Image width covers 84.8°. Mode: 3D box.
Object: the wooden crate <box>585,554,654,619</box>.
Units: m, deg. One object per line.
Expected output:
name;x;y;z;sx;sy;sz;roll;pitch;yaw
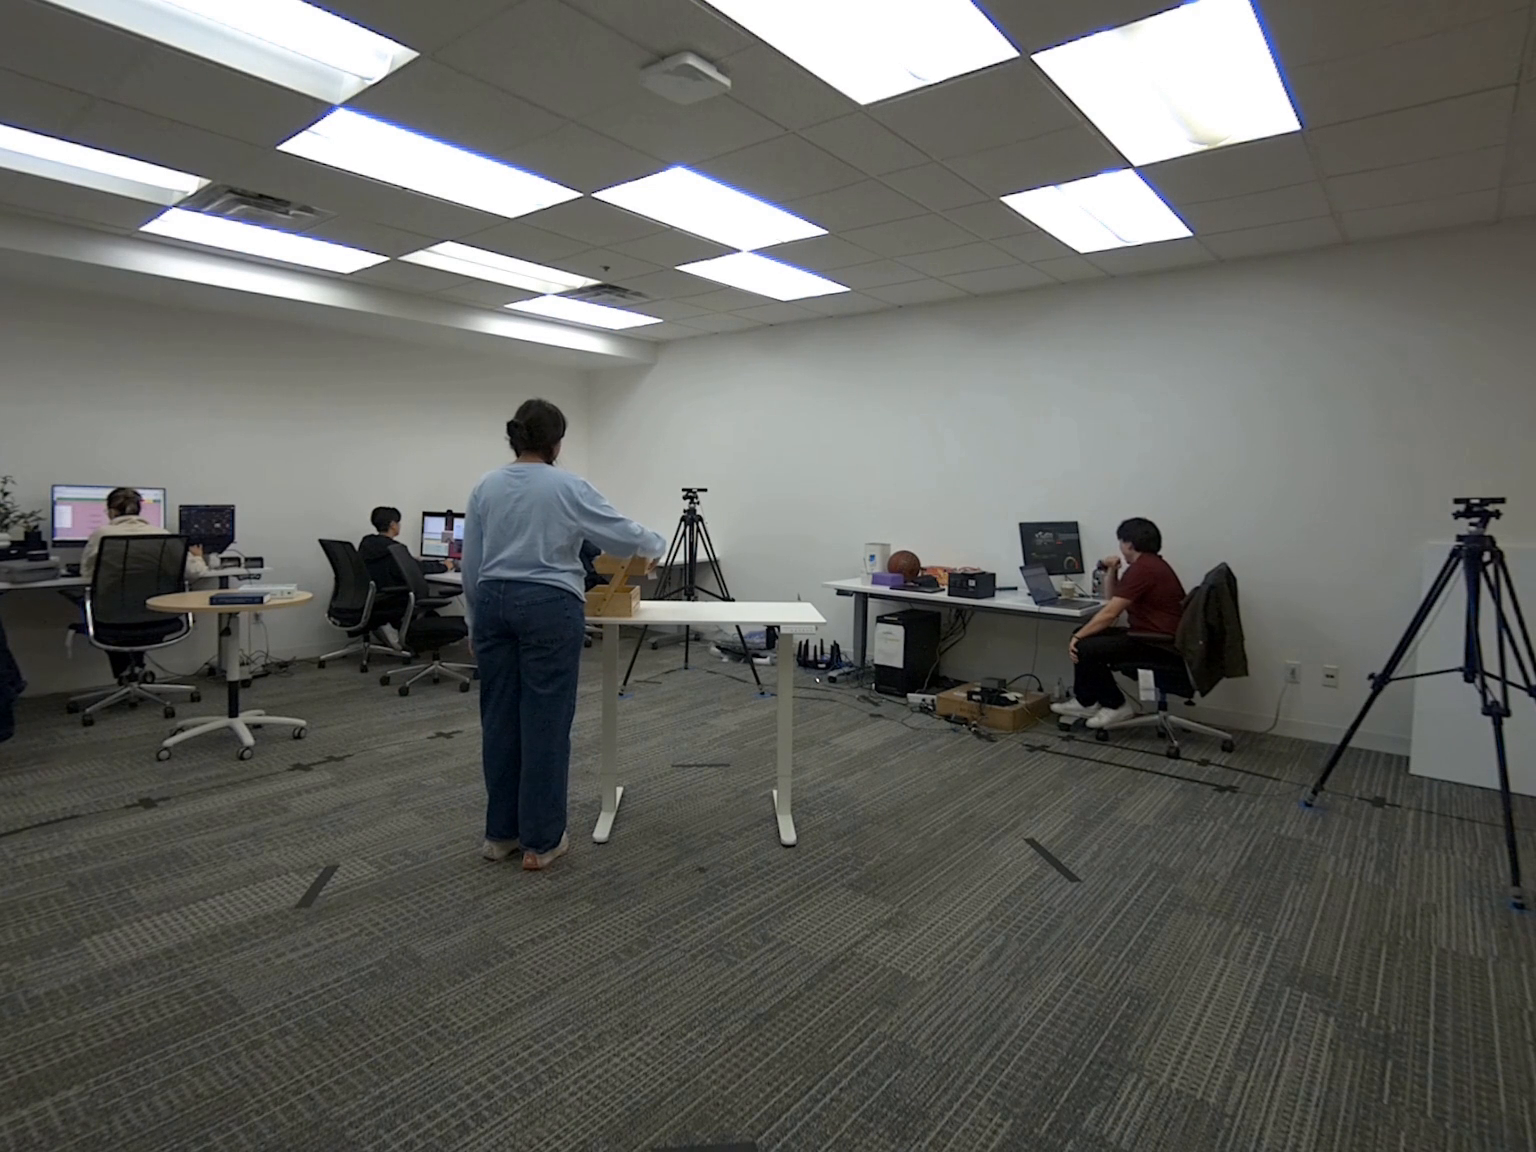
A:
wooden crate;-0.659;0.015;3.507;0.302;0.272;0.325;1;4;-1
